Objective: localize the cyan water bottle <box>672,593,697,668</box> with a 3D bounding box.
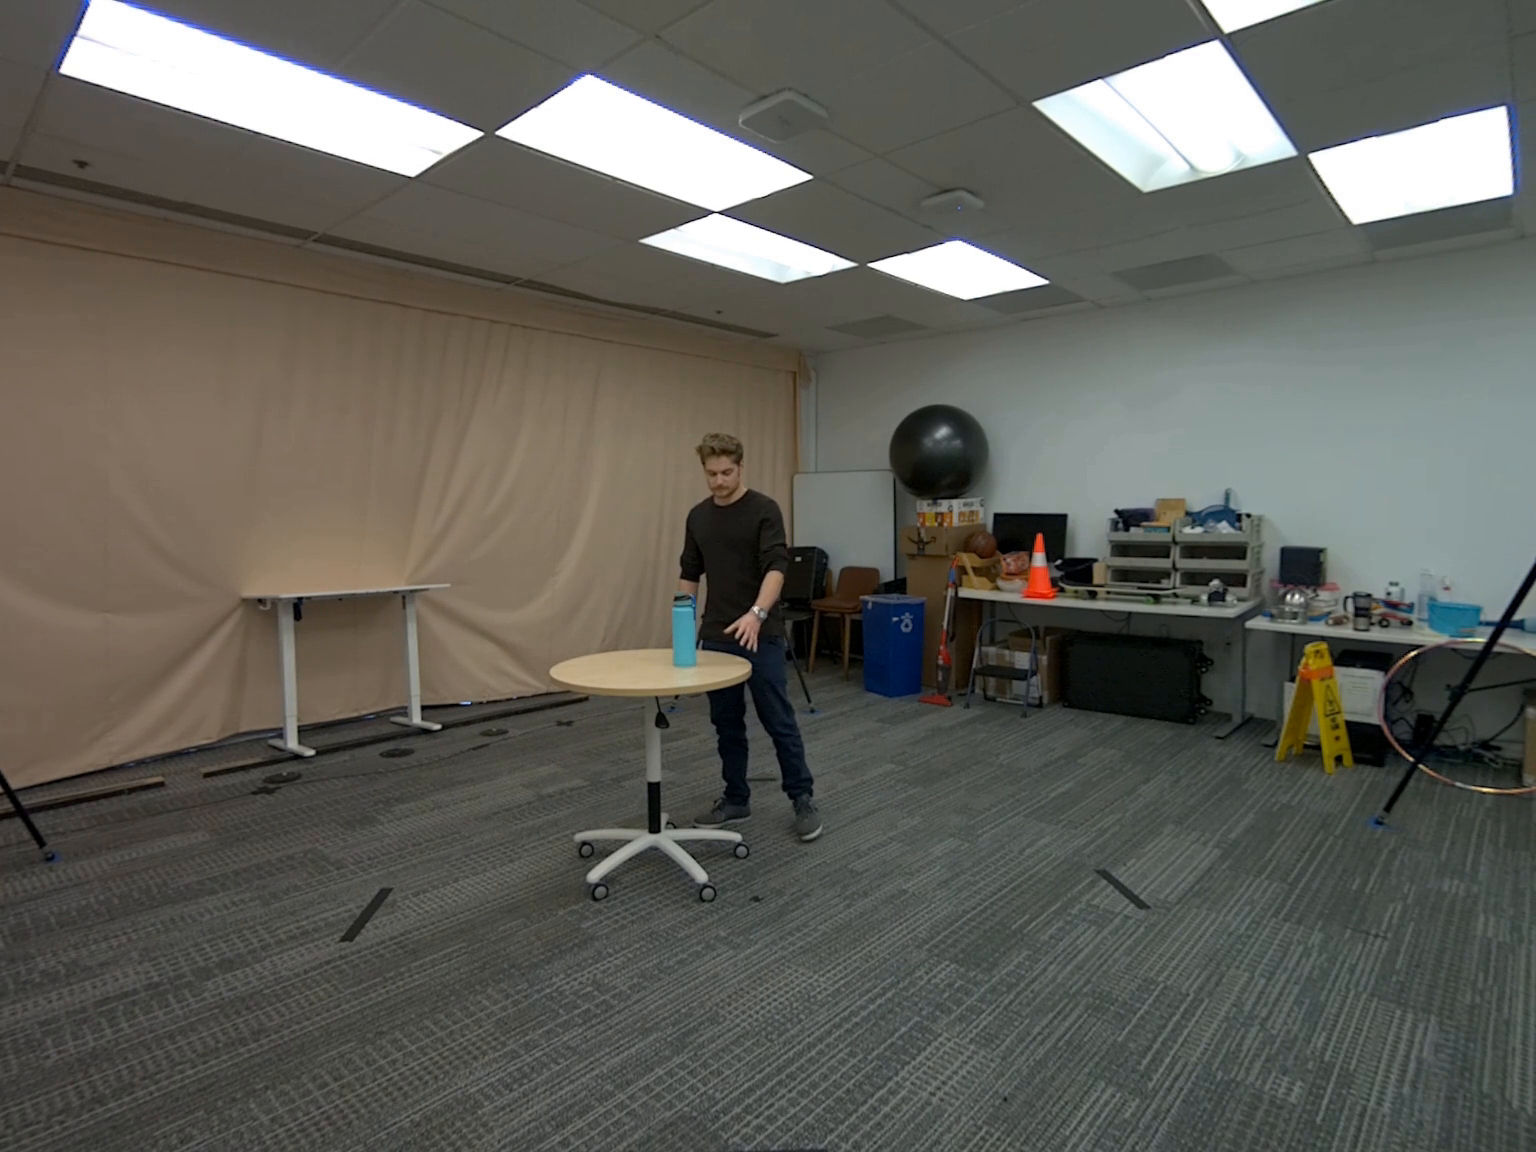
[{"bbox_3d":[-0.317,0.204,3.233,0.092,0.283,0.092,1,1,-2],"label":"cyan water bottle"}]
